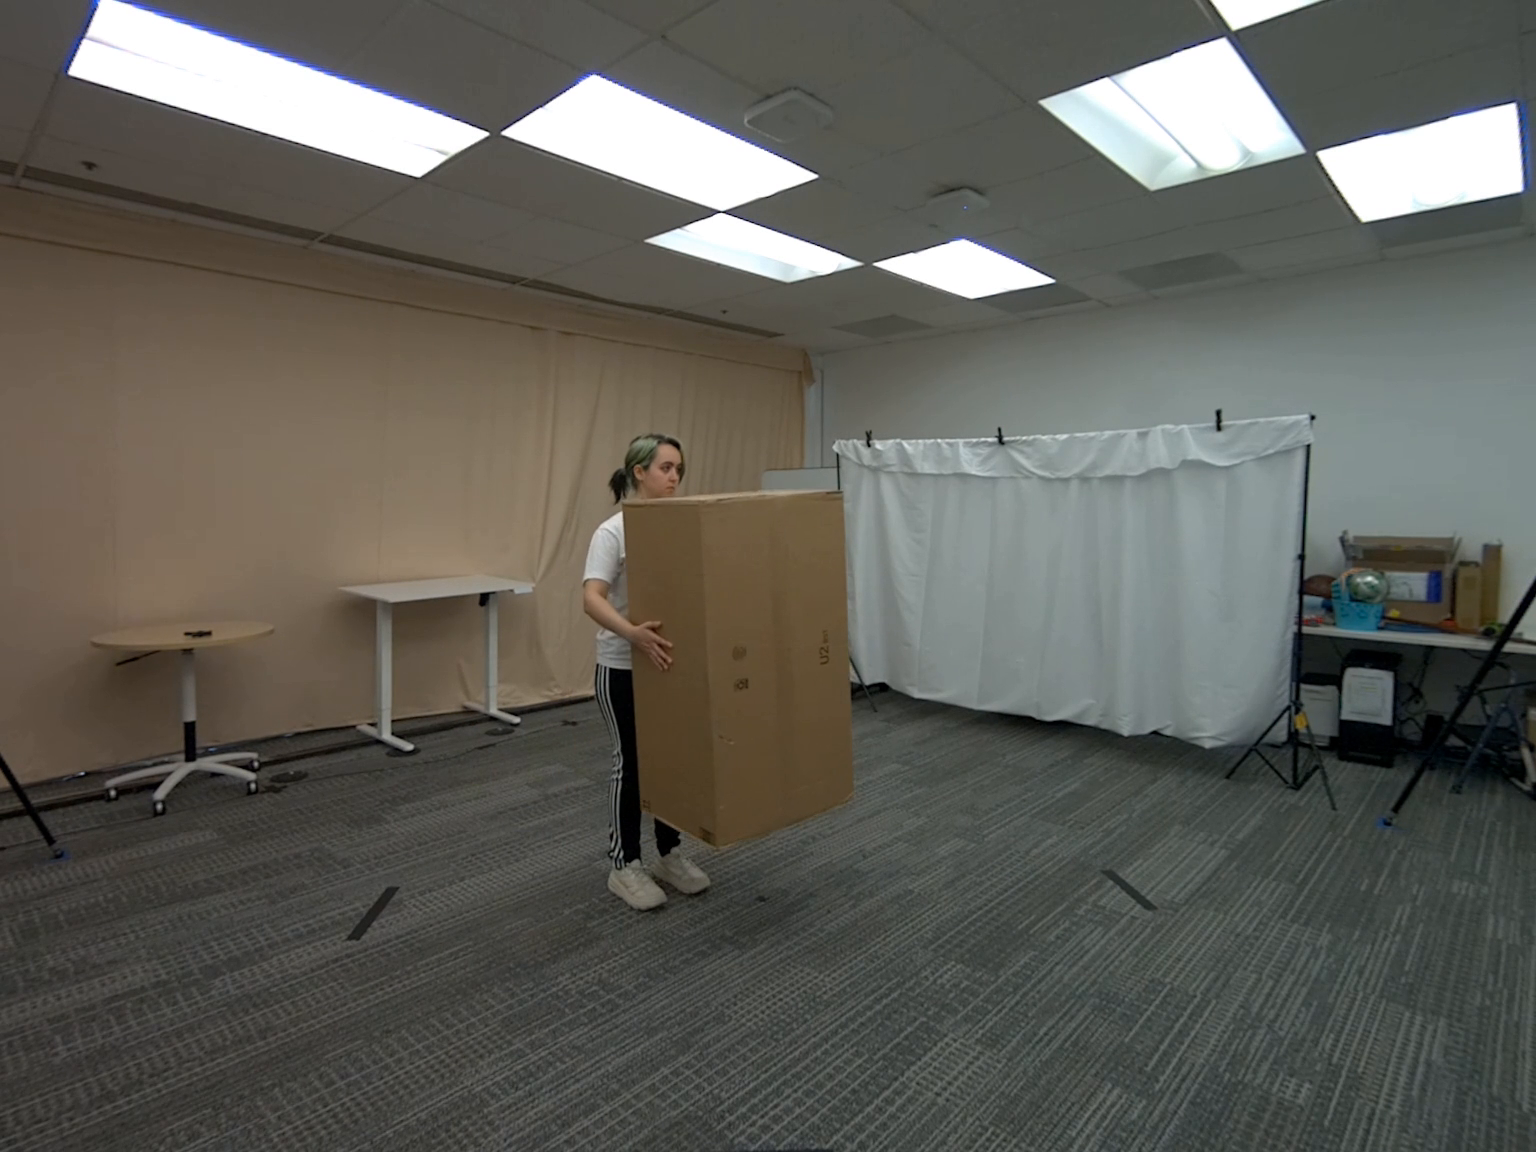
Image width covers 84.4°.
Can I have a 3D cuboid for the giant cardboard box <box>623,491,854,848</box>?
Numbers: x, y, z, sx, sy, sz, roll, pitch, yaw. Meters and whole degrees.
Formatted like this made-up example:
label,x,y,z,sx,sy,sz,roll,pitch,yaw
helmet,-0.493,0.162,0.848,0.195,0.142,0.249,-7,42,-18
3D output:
label,x,y,z,sx,sy,sz,roll,pitch,yaw
giant cardboard box,-0.088,0.250,2.725,0.561,1.022,0.440,-7,7,-39
